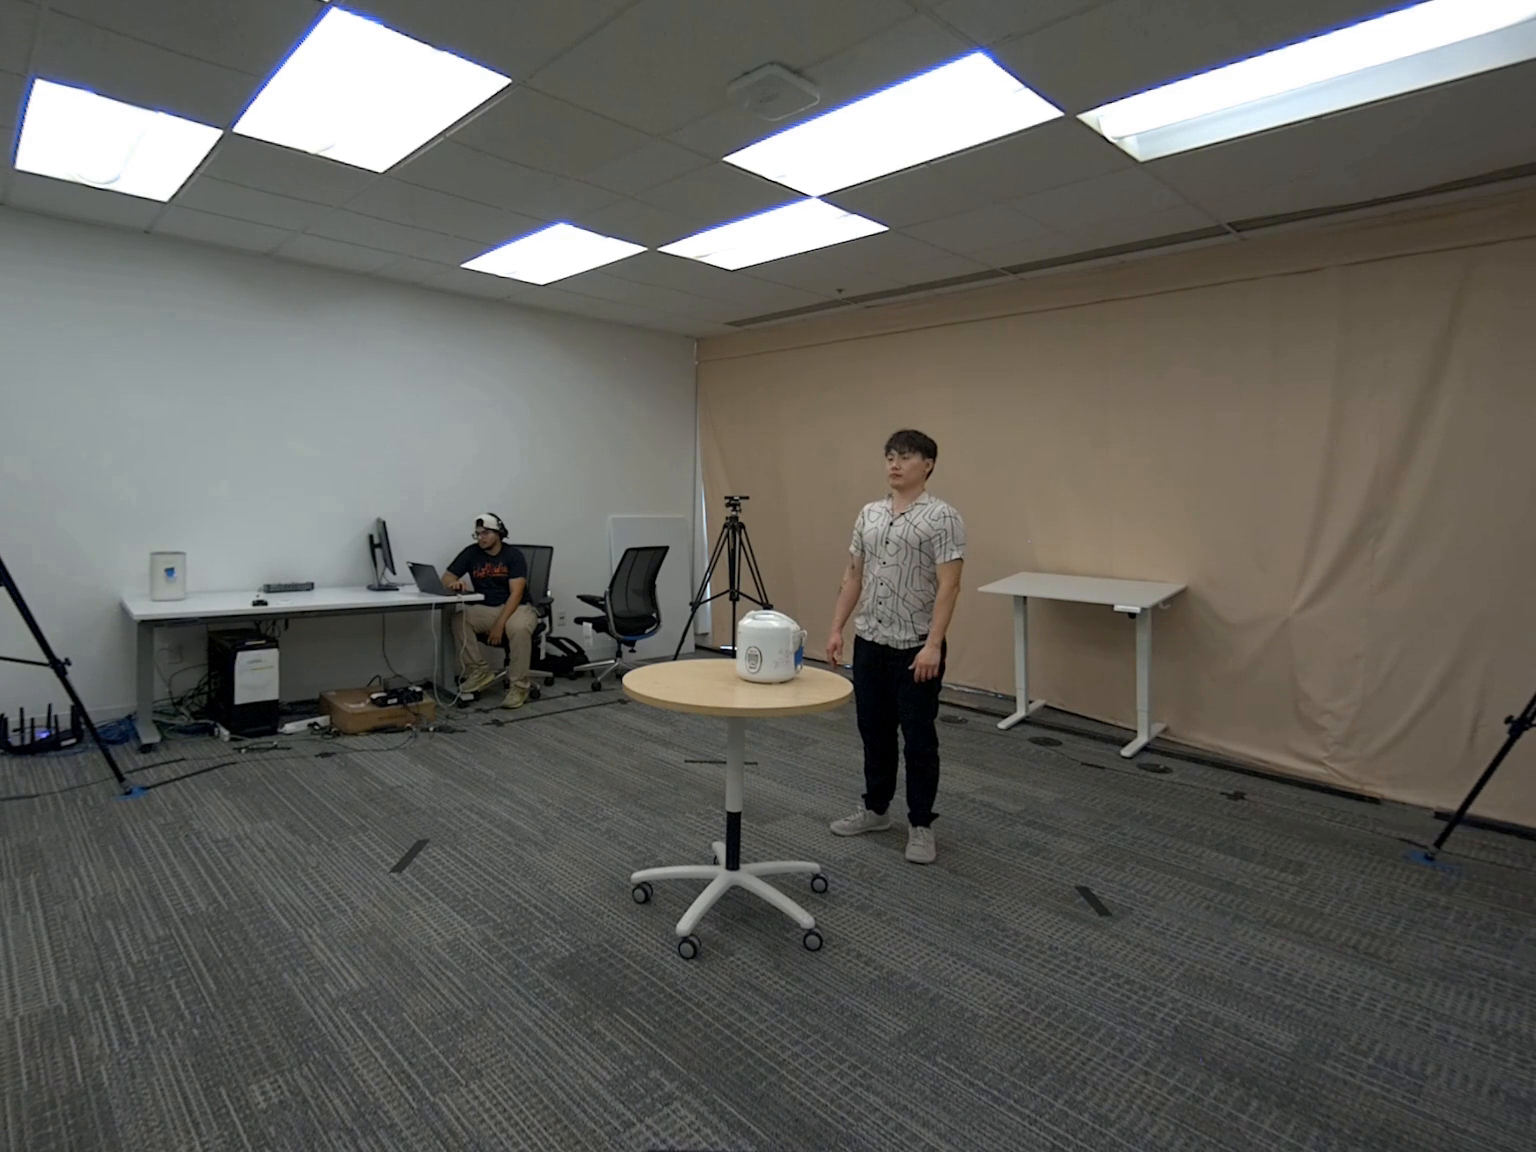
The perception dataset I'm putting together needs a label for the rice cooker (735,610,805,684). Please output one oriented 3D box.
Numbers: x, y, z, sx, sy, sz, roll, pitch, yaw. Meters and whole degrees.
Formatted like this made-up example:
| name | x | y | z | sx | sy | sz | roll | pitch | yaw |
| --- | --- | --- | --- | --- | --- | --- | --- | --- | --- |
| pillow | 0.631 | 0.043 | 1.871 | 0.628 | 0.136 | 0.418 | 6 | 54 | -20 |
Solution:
| name | x | y | z | sx | sy | sz | roll | pitch | yaw |
| --- | --- | --- | --- | --- | --- | --- | --- | --- | --- |
| rice cooker | -0.007 | 0.234 | 2.840 | 0.225 | 0.232 | 0.213 | 3 | 3 | 26 |
